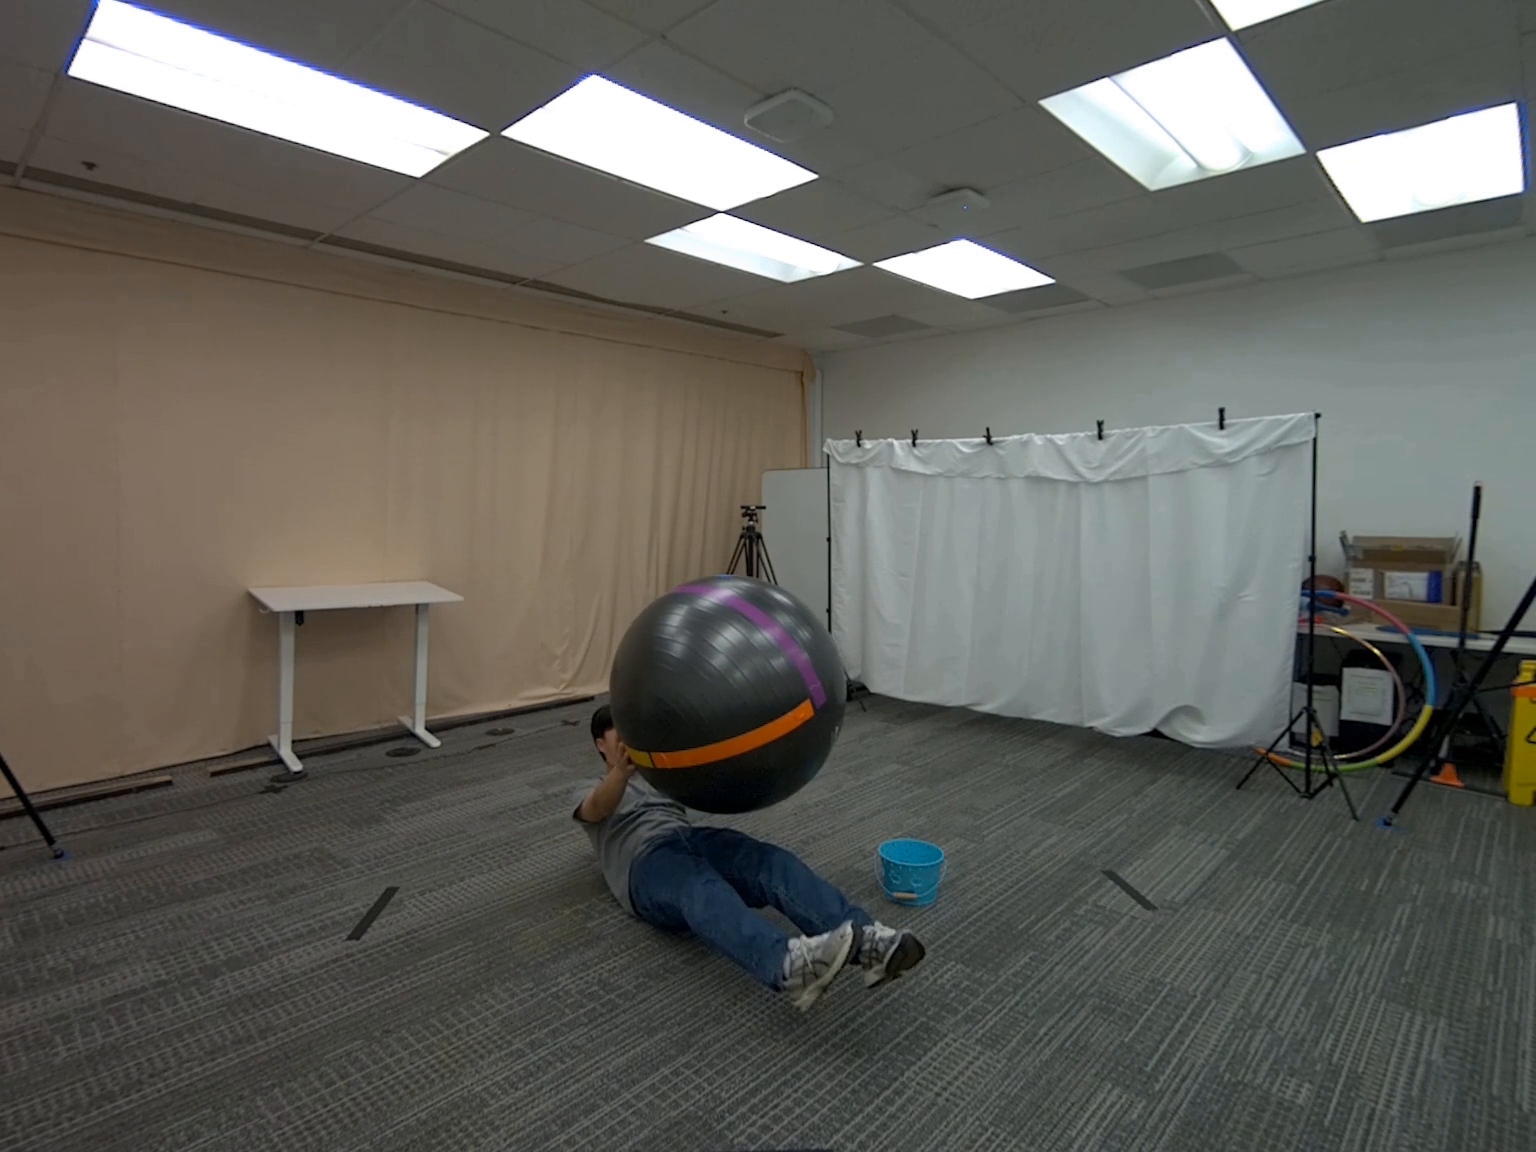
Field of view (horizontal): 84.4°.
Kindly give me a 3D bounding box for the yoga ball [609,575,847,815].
[{"bbox_3d":[-0.108,0.383,2.719,0.757,0.756,0.761,0,4,-2],"label":"yoga ball"}]
